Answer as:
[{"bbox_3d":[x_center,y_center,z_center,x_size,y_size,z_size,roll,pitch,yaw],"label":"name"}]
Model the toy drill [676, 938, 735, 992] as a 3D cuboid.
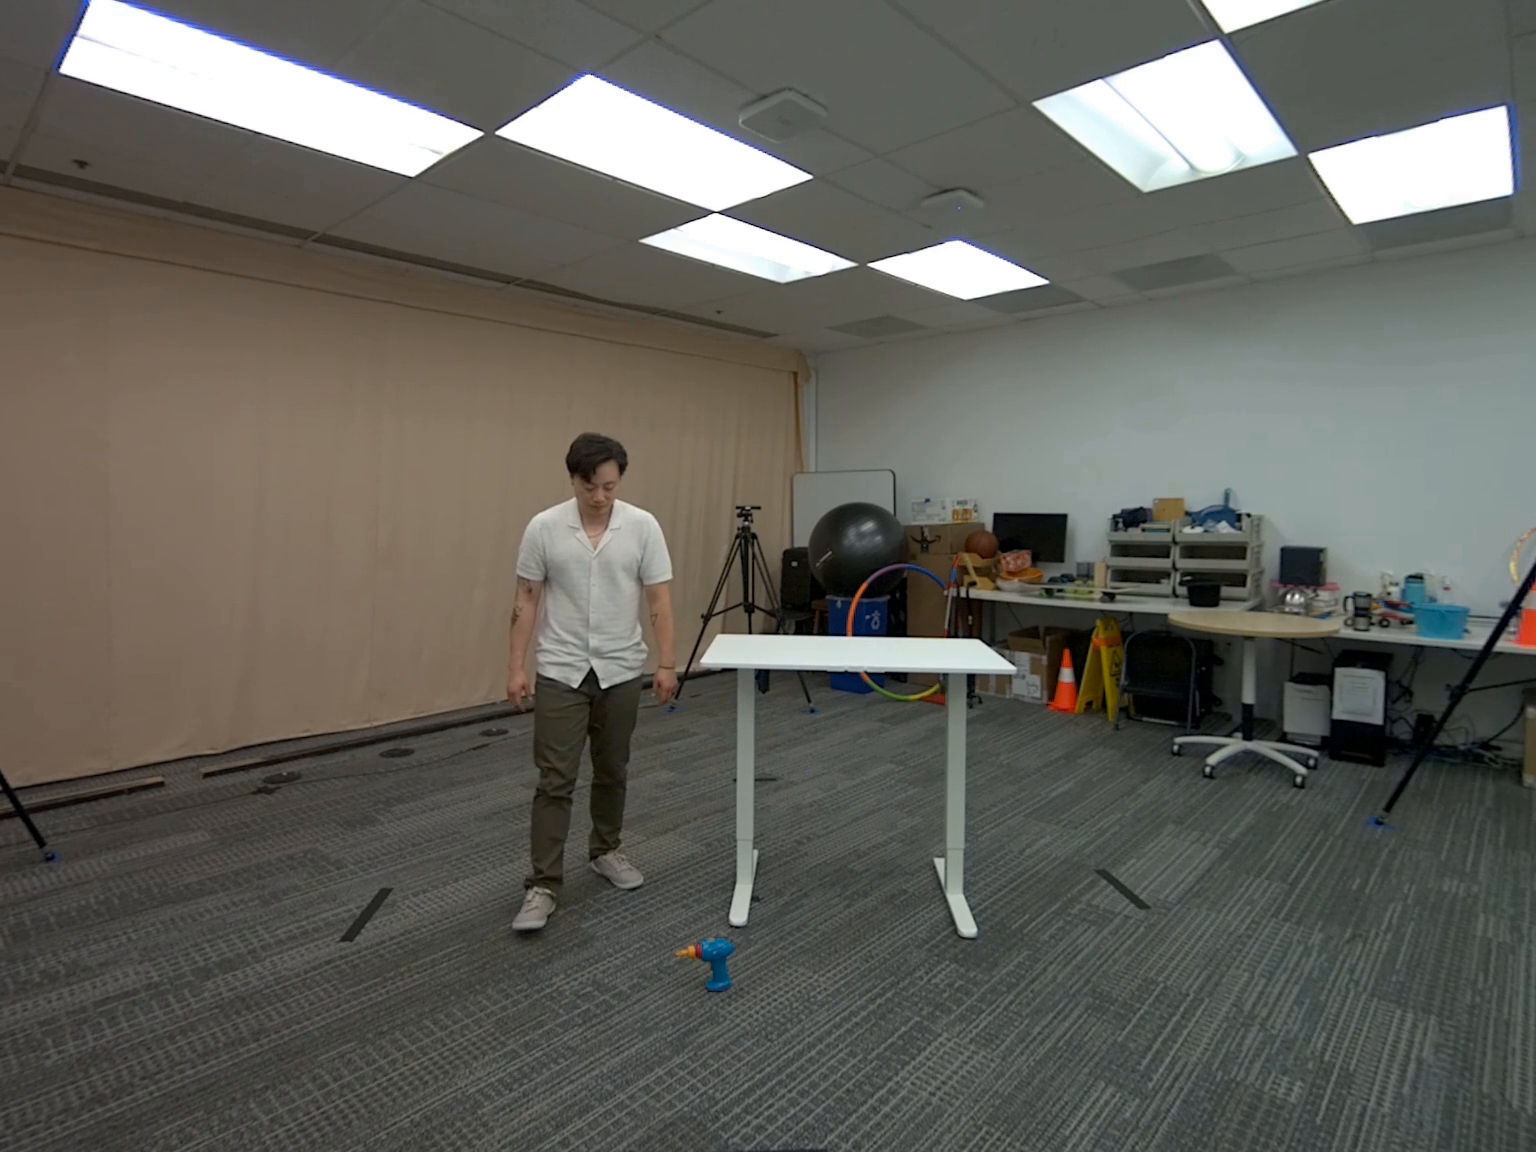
[{"bbox_3d":[-0.179,1.120,2.421,0.168,0.146,0.062,0,2,-9],"label":"toy drill"}]
